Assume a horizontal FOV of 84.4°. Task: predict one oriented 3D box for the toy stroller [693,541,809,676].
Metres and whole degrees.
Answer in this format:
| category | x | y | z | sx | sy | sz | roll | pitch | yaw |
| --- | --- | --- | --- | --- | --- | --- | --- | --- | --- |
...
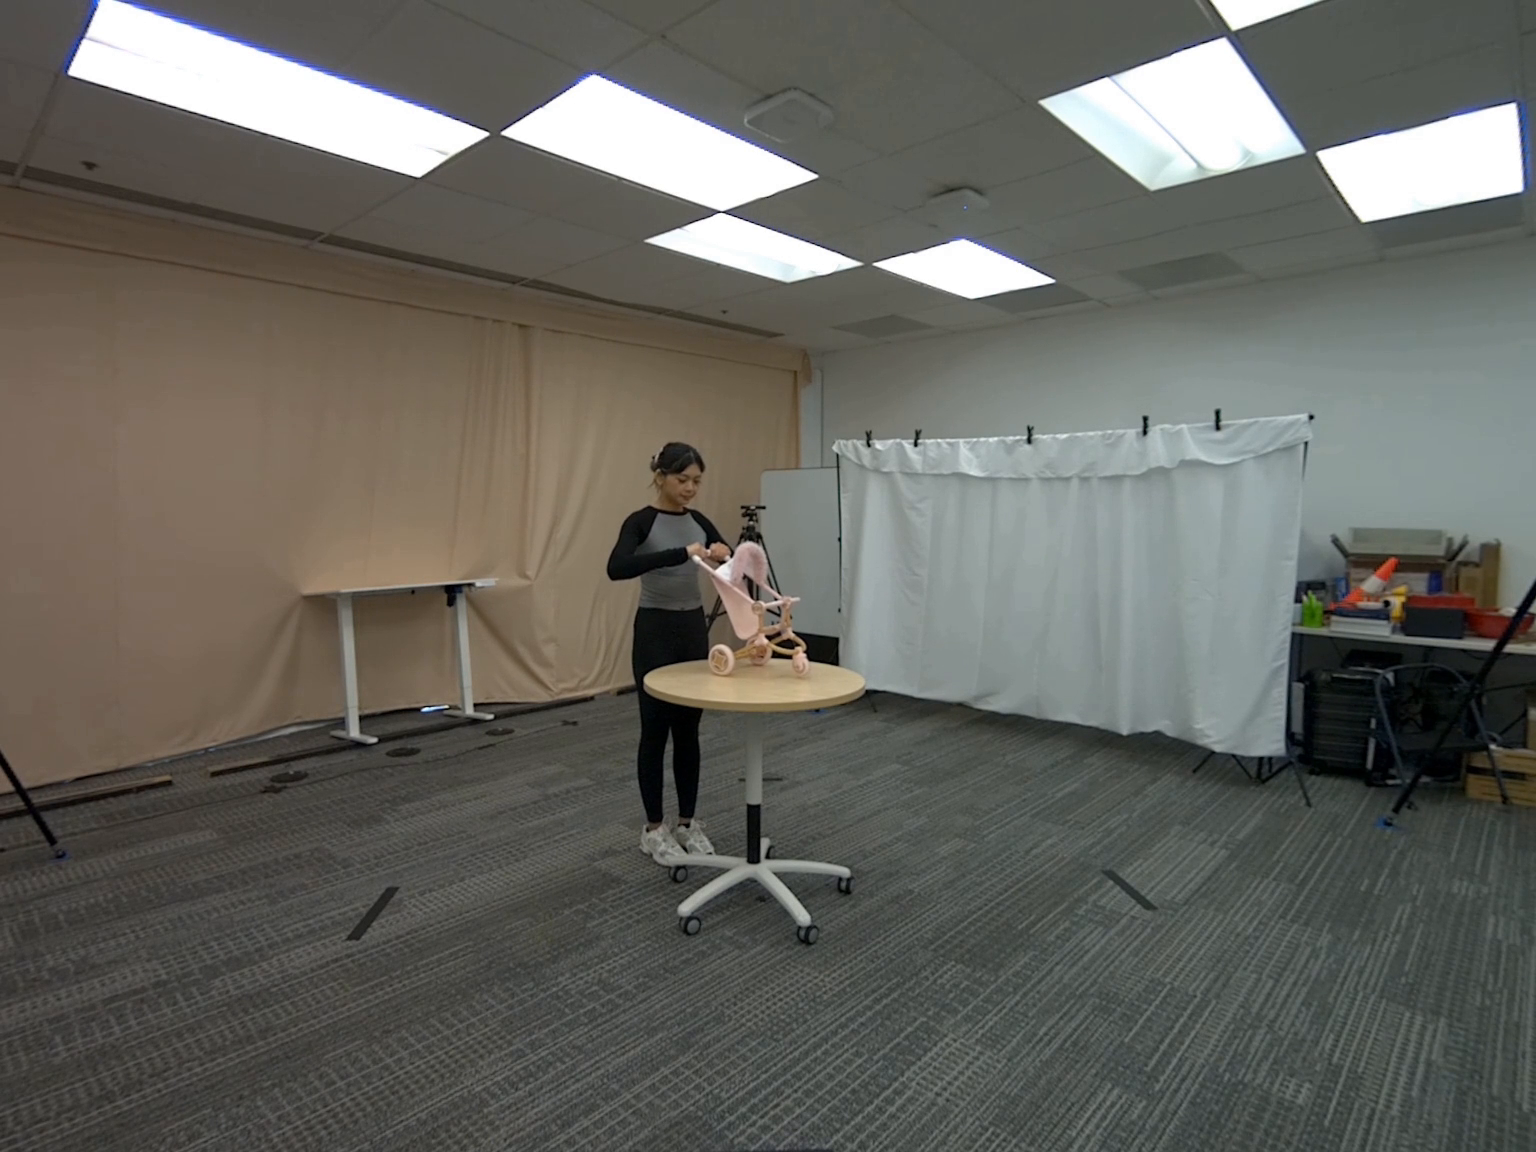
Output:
| category | x | y | z | sx | sy | sz | roll | pitch | yaw |
| --- | --- | --- | --- | --- | --- | --- | --- | --- | --- |
| toy stroller | -0.045 | 0.118 | 3.019 | 0.349 | 0.538 | 0.273 | -17 | -8 | 37 |
